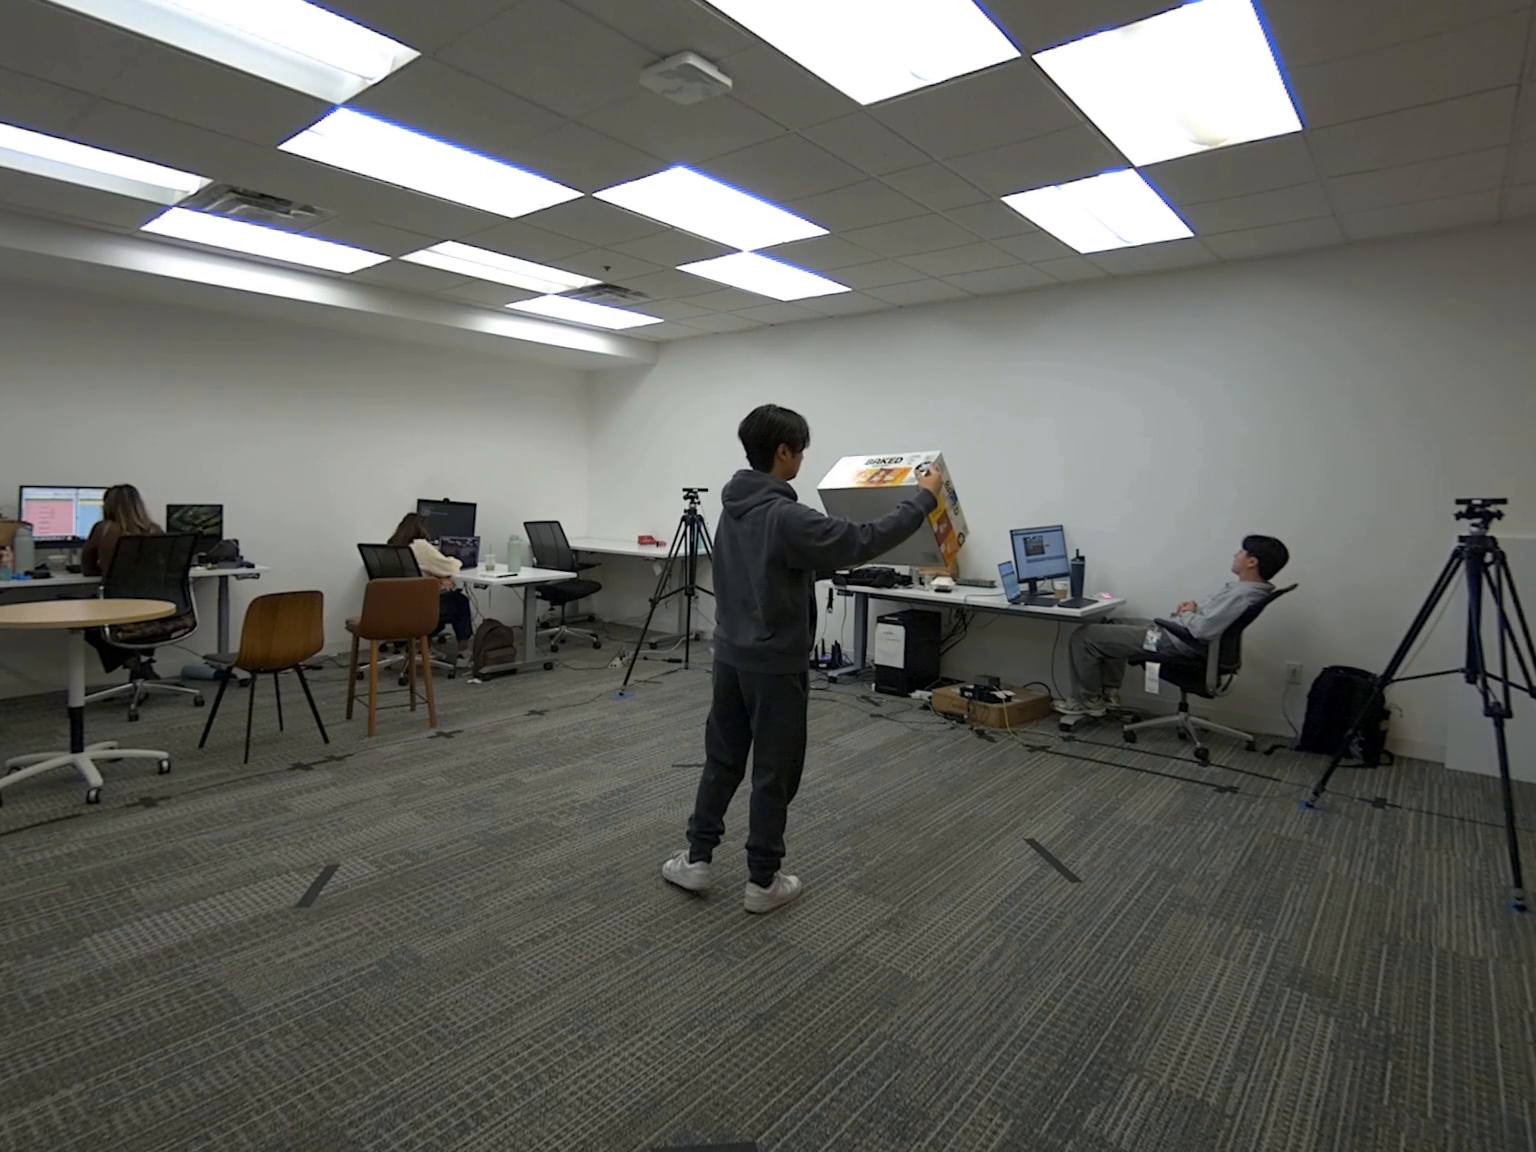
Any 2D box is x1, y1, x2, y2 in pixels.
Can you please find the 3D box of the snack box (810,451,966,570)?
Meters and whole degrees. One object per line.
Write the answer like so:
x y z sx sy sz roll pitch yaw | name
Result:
0.424 -0.229 2.987 0.418 0.330 0.205 1 37 42 | snack box
